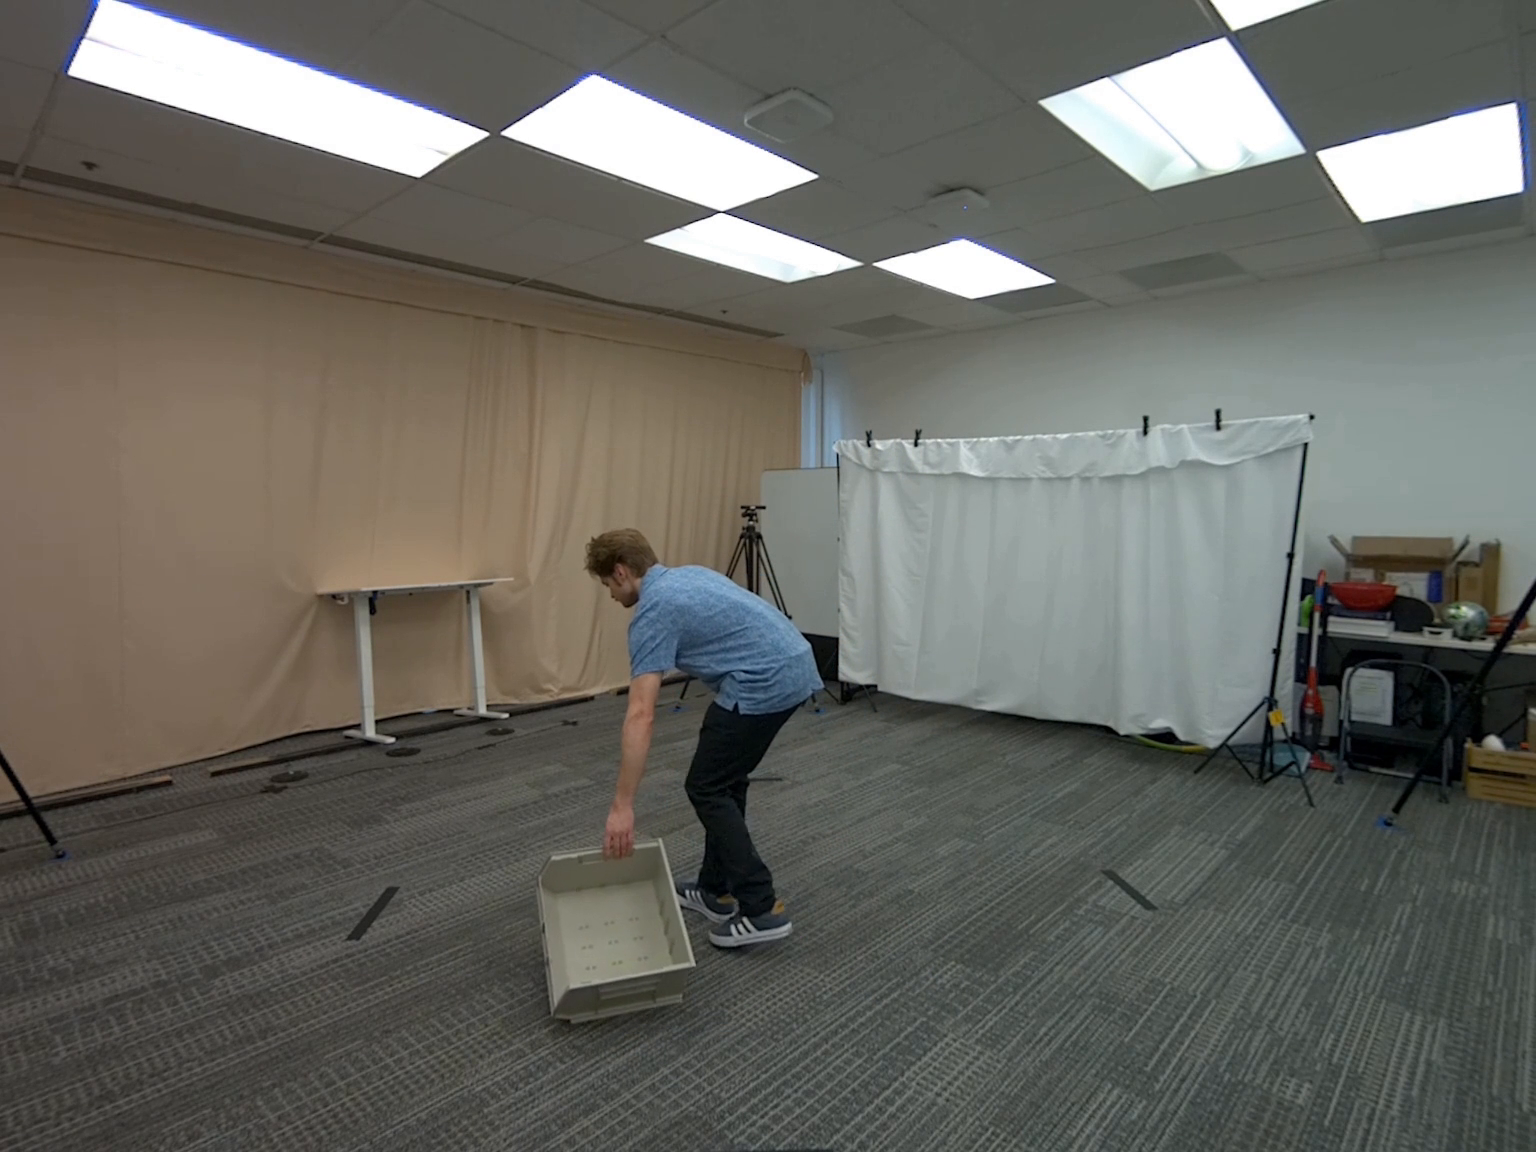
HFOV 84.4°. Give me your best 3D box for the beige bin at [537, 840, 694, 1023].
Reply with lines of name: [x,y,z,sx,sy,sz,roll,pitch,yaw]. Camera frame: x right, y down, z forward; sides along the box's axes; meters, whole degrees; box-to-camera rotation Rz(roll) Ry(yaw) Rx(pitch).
beige bin: [-0.449,1.007,2.423,0.370,0.187,0.435,-1,34,-21]
